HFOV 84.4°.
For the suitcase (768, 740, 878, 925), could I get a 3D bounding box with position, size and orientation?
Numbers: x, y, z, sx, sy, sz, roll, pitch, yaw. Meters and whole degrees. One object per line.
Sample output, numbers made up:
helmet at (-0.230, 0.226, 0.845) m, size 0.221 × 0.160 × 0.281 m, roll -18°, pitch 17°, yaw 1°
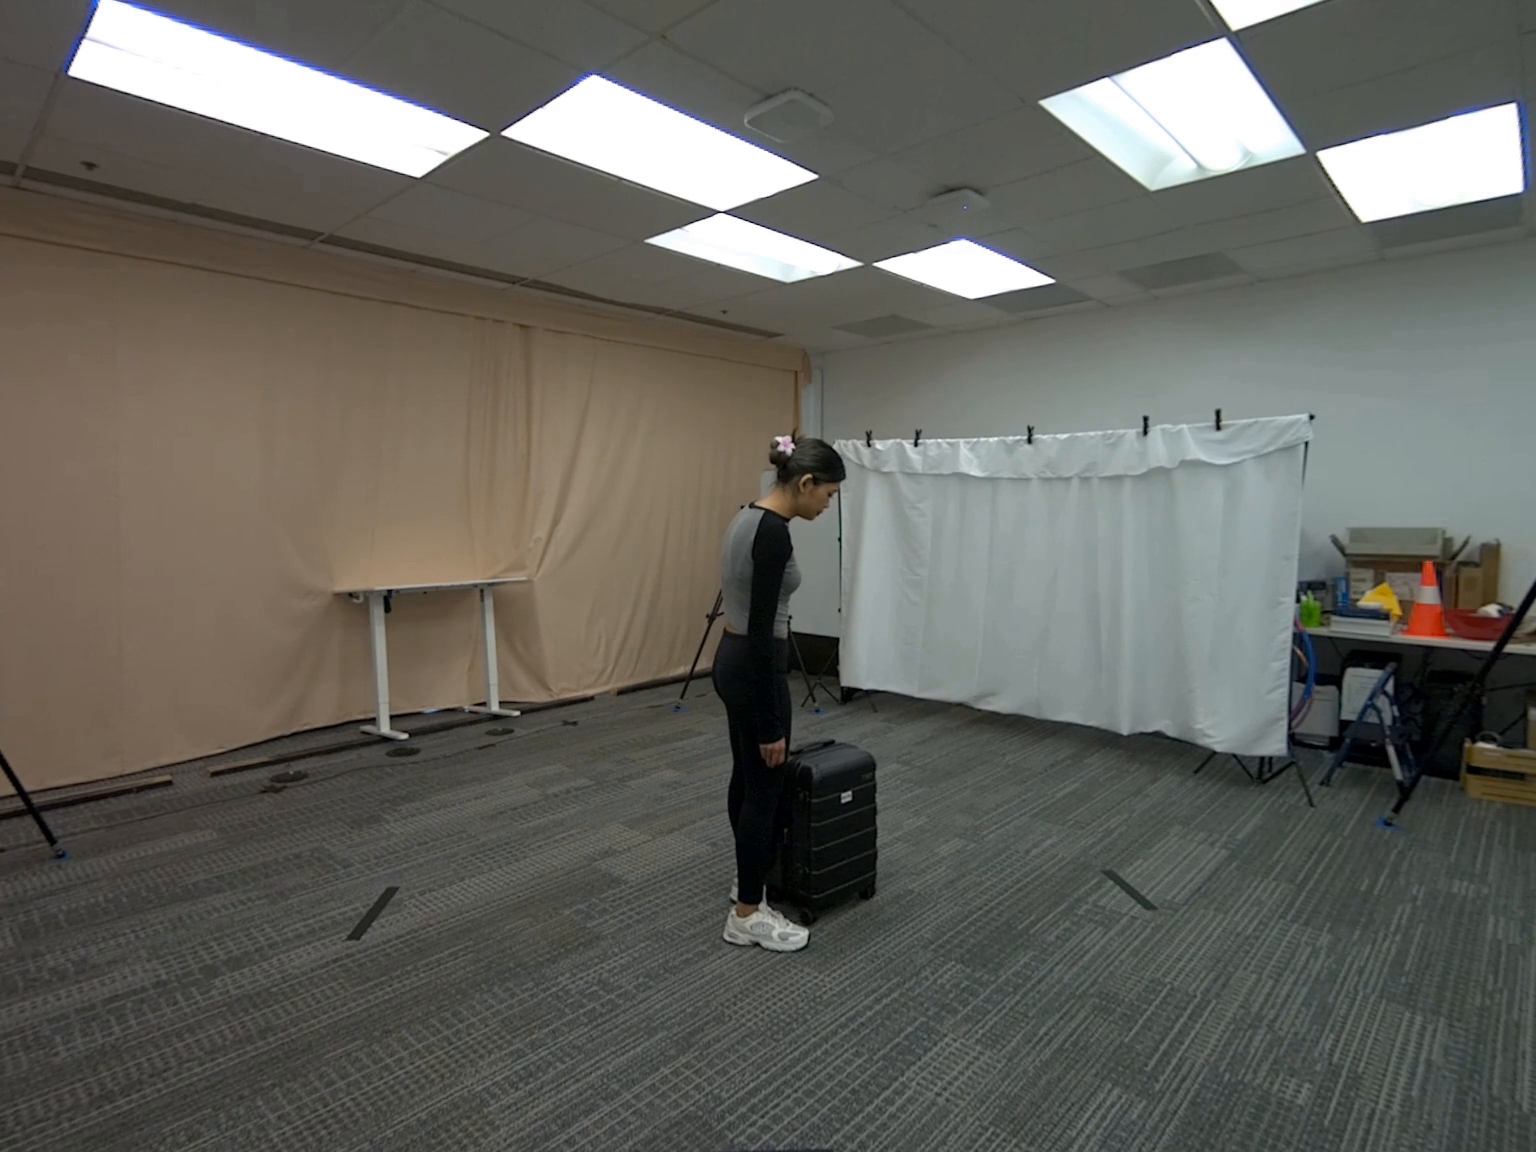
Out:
suitcase at (0.198, 0.870, 2.955) m, size 0.364 × 0.548 × 0.257 m, roll -3°, pitch 7°, yaw -41°
